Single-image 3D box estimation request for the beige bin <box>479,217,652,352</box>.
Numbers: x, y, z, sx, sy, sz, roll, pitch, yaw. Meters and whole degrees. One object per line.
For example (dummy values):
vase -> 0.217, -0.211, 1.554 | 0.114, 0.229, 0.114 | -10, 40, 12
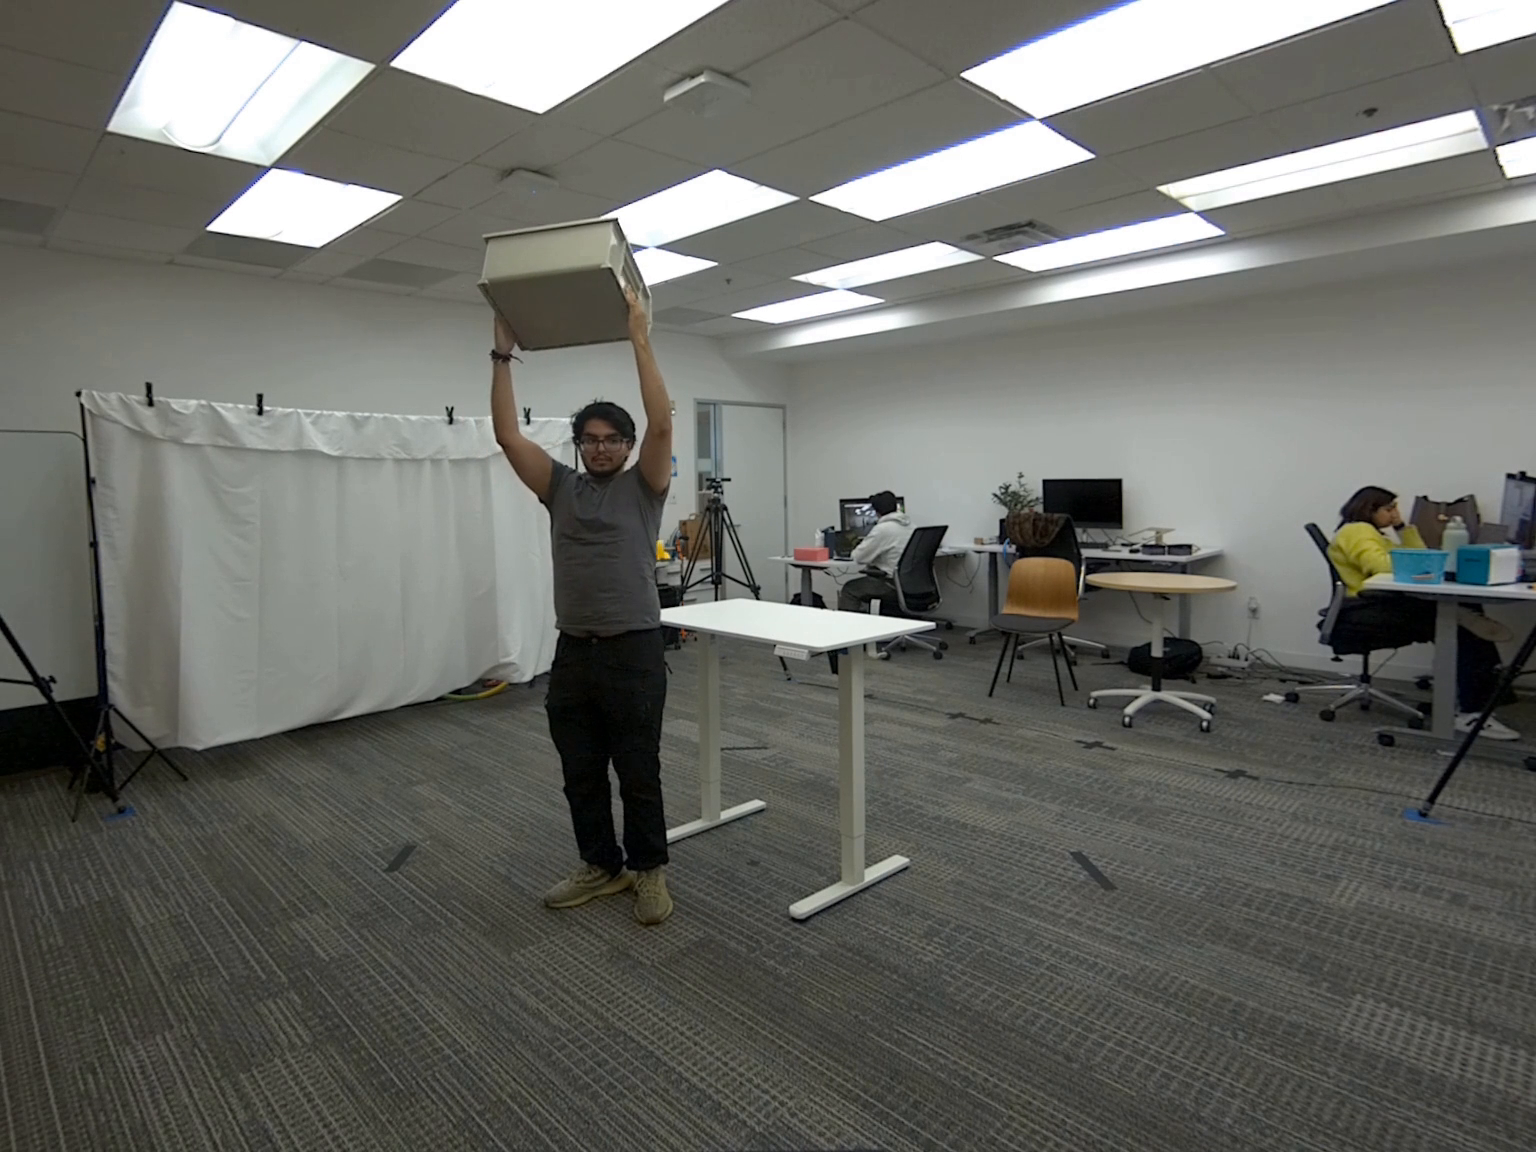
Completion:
beige bin -> -0.605, -0.859, 2.604 | 0.427, 0.192, 0.366 | -2, -24, 11
